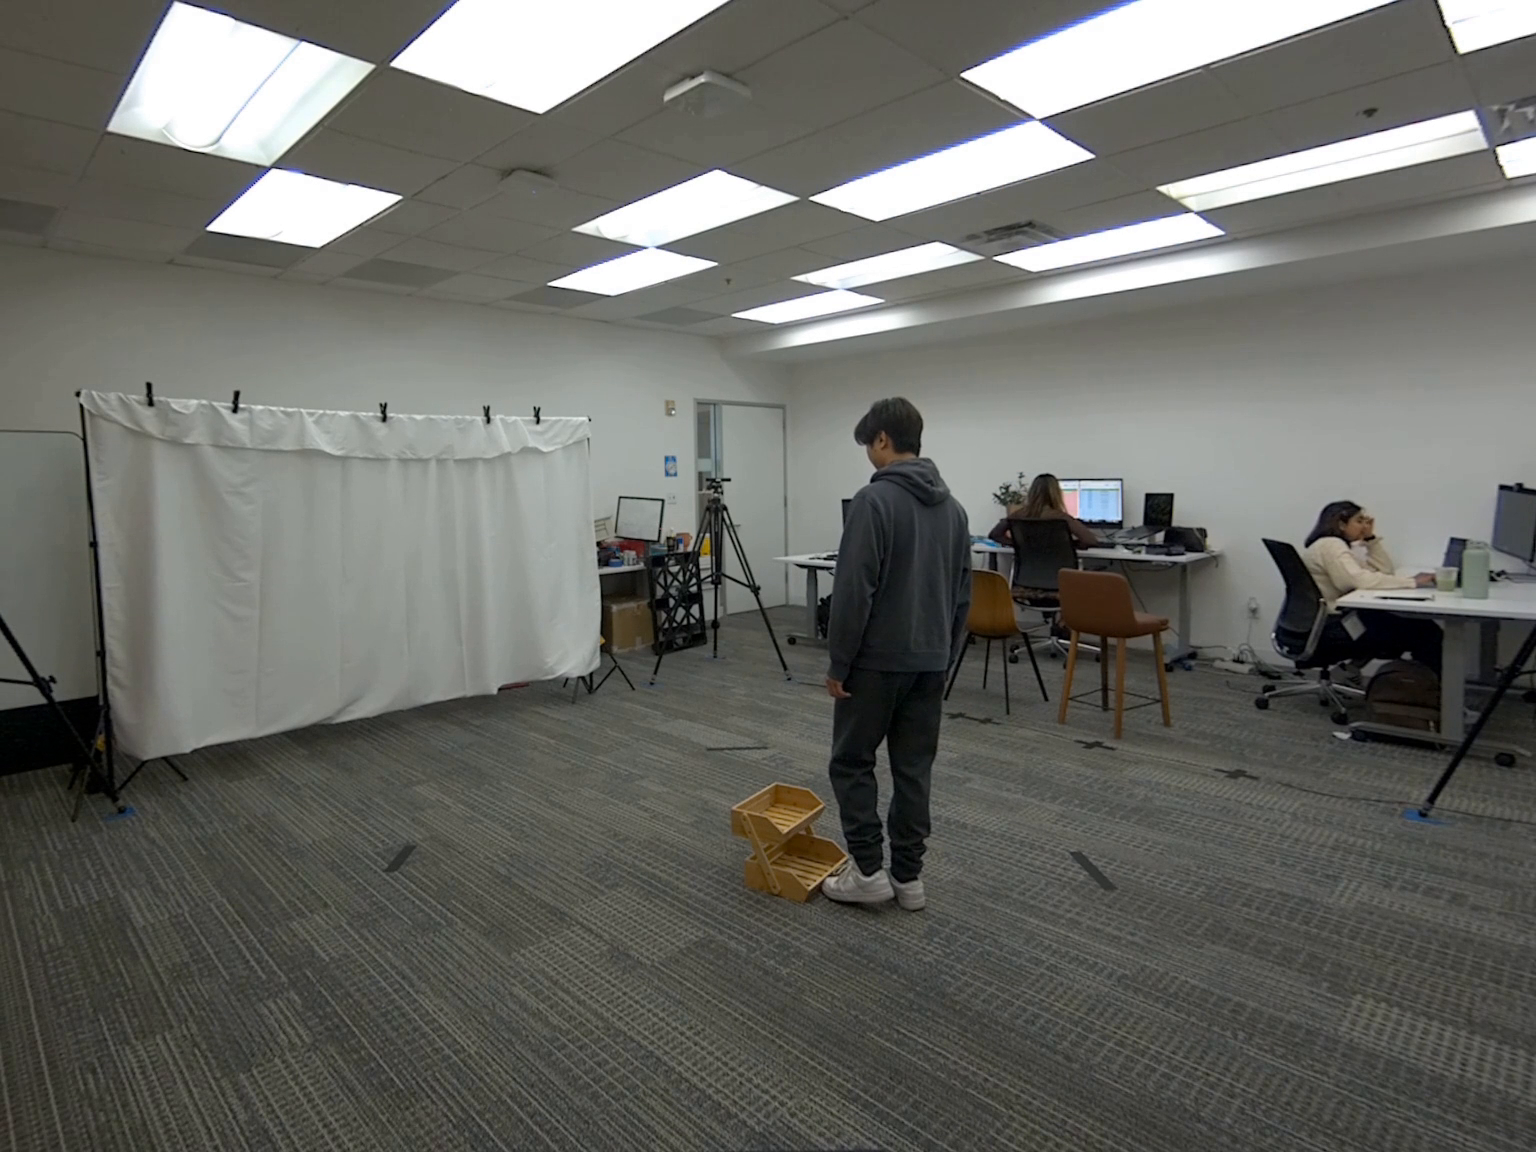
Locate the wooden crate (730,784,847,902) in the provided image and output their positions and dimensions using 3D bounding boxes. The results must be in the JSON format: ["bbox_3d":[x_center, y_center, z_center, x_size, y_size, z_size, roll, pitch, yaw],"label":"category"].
[{"bbox_3d":[0.085,0.920,2.995,0.310,0.272,0.317,2,6,33],"label":"wooden crate"}]
